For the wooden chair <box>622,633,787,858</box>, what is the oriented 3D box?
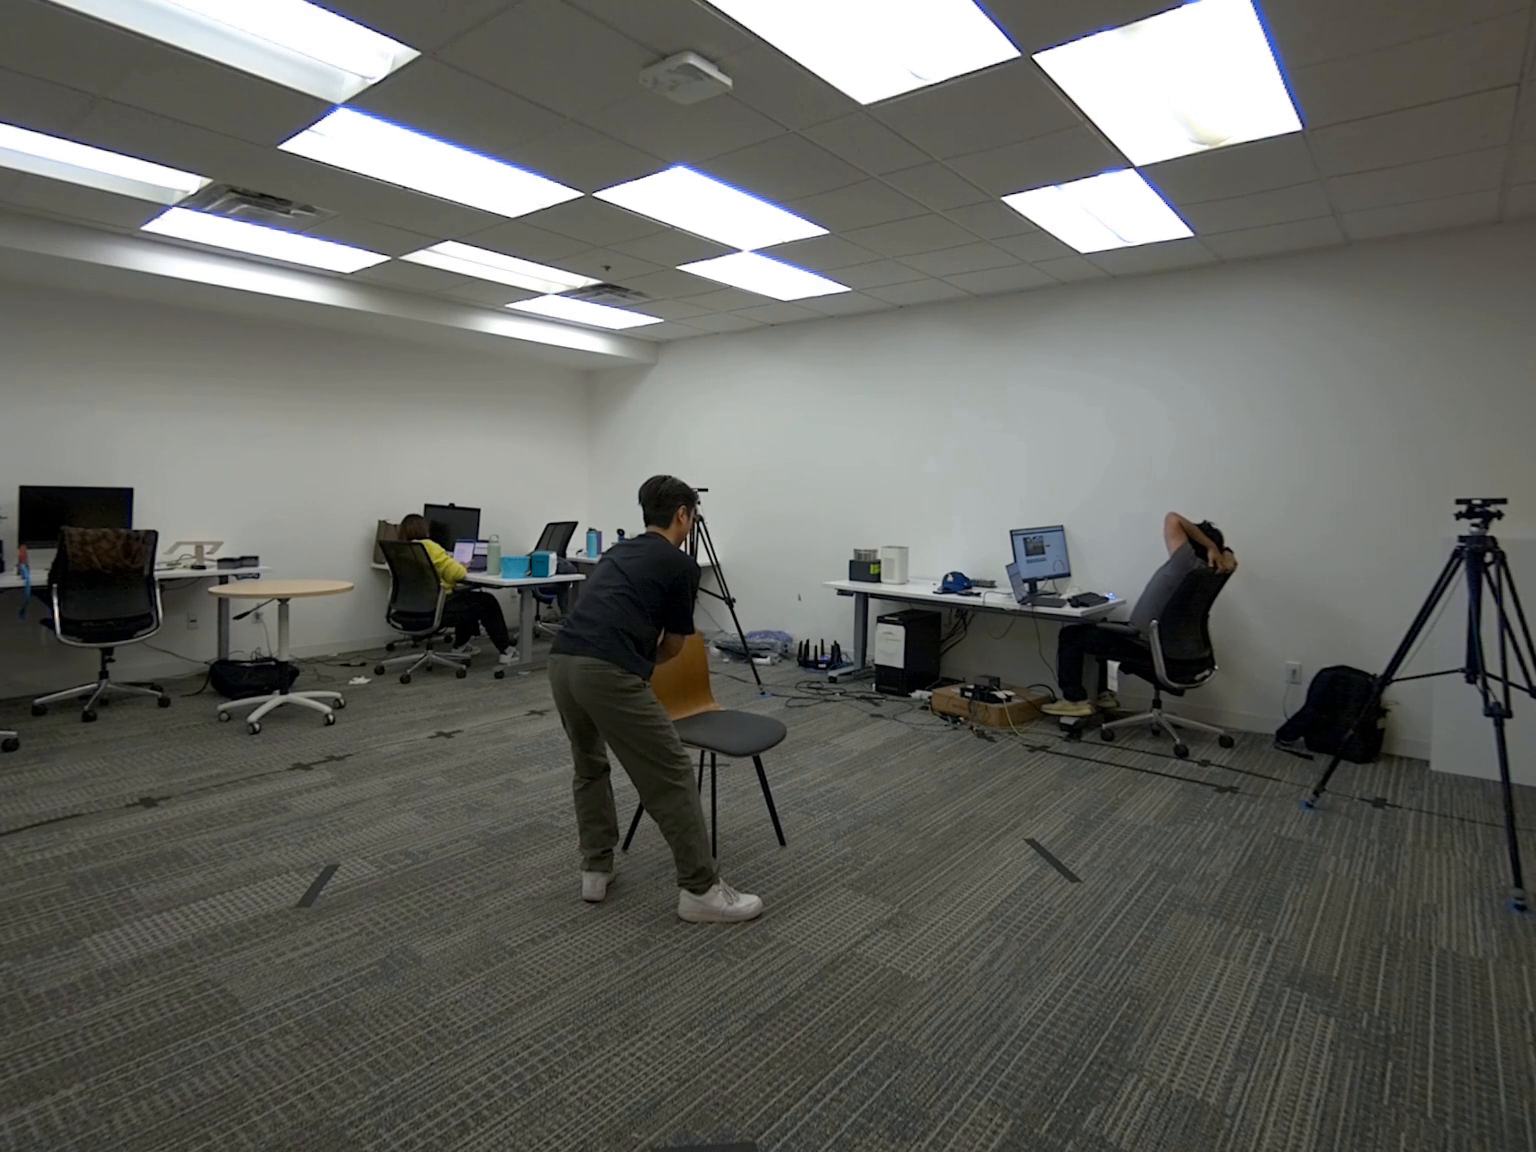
[{"bbox_3d":[-0.230,0.624,3.263,0.539,0.877,0.464,-1,0,36],"label":"wooden chair"}]
